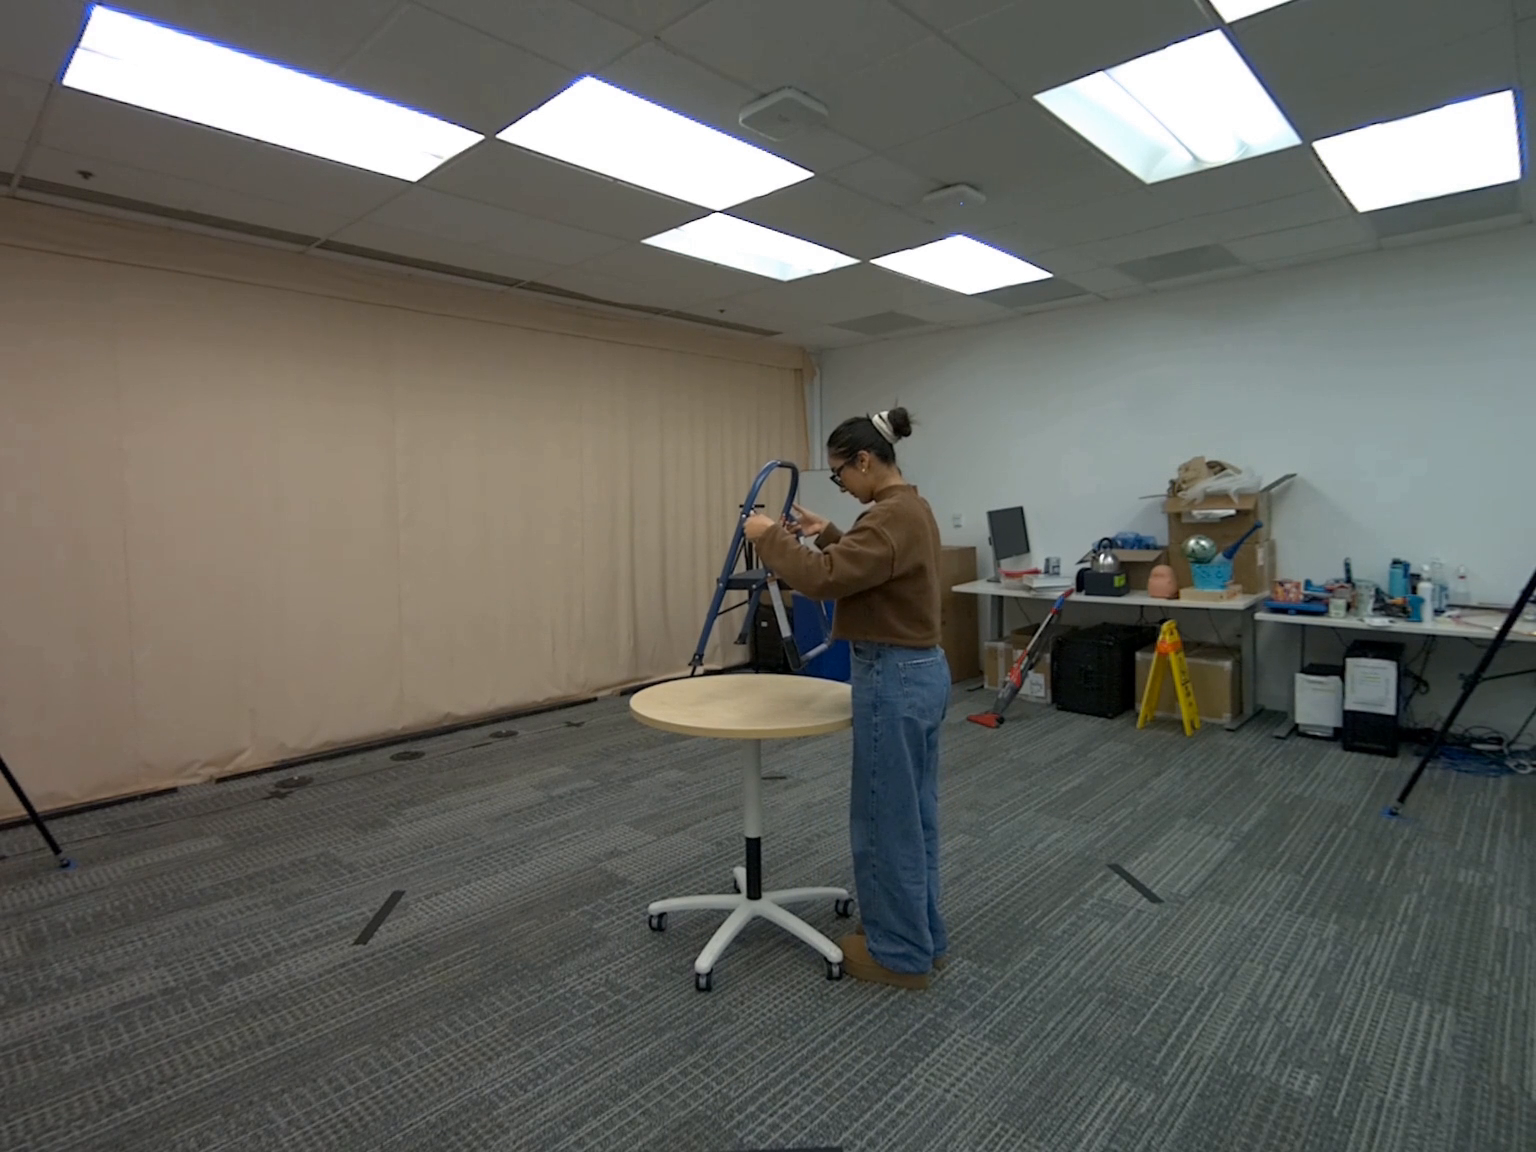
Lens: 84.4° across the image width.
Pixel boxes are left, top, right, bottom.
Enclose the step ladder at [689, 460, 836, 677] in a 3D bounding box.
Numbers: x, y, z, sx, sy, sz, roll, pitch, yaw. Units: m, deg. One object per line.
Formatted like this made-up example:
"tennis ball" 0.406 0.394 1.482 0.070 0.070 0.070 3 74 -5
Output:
"step ladder" -0.004 -0.048 2.621 0.357 0.605 0.422 0 3 20
